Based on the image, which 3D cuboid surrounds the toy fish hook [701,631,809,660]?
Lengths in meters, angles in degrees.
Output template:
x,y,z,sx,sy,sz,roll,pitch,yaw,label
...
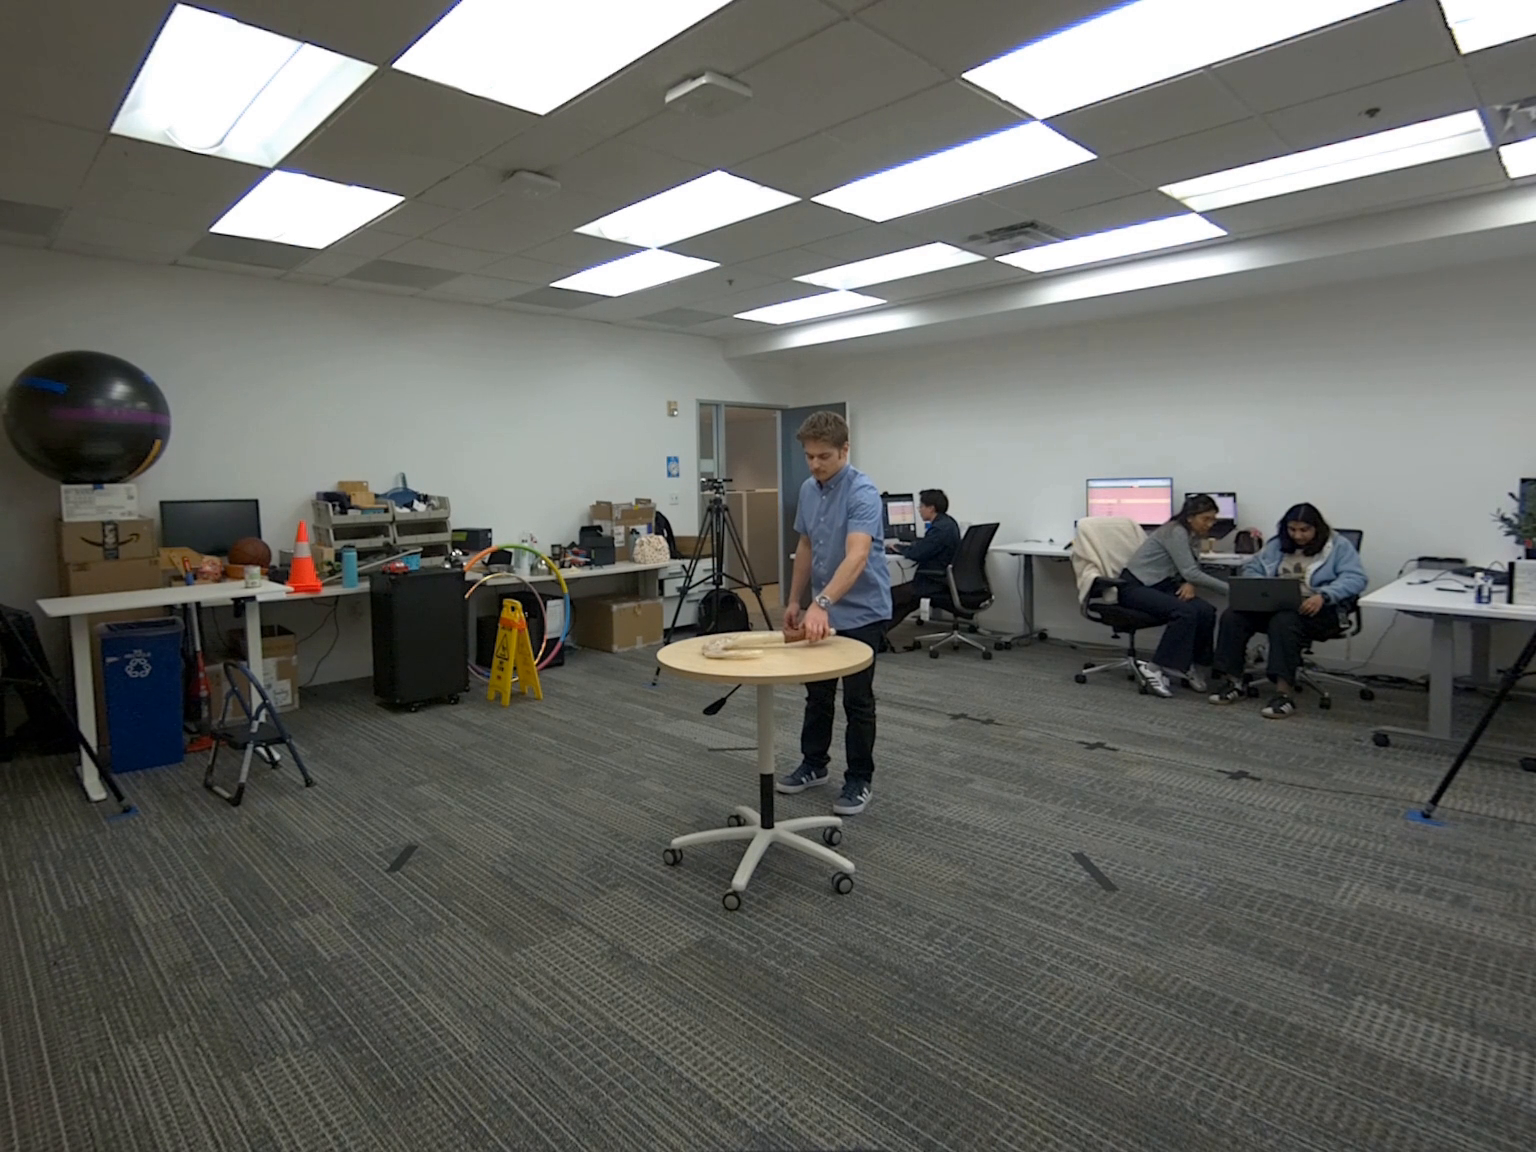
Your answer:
x,y,z,sx,sy,sz,roll,pitch,yaw,label
0.016,0.245,3.031,0.502,0.048,0.229,-7,14,-9,toy fish hook
